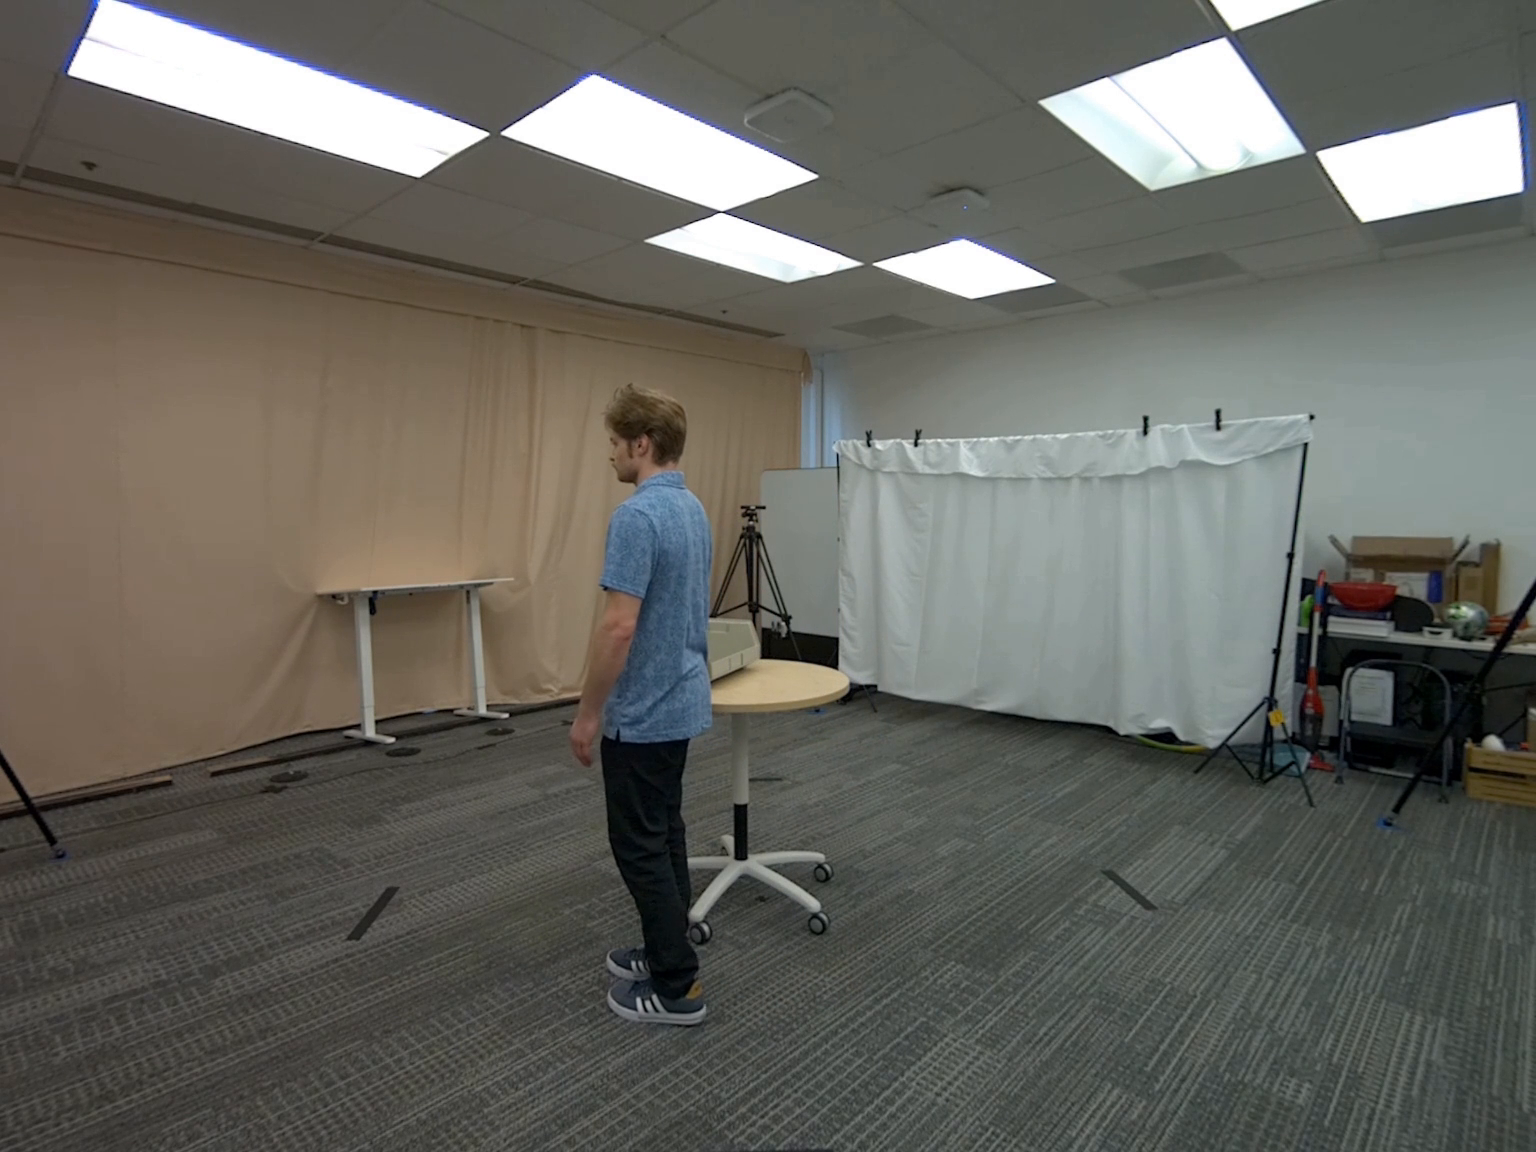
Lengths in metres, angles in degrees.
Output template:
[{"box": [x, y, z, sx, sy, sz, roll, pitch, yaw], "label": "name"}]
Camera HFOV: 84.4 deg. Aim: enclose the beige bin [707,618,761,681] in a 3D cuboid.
[{"box": [-0.276, 0.270, 3.035, 0.387, 0.188, 0.413, 0, 5, 25], "label": "beige bin"}]
